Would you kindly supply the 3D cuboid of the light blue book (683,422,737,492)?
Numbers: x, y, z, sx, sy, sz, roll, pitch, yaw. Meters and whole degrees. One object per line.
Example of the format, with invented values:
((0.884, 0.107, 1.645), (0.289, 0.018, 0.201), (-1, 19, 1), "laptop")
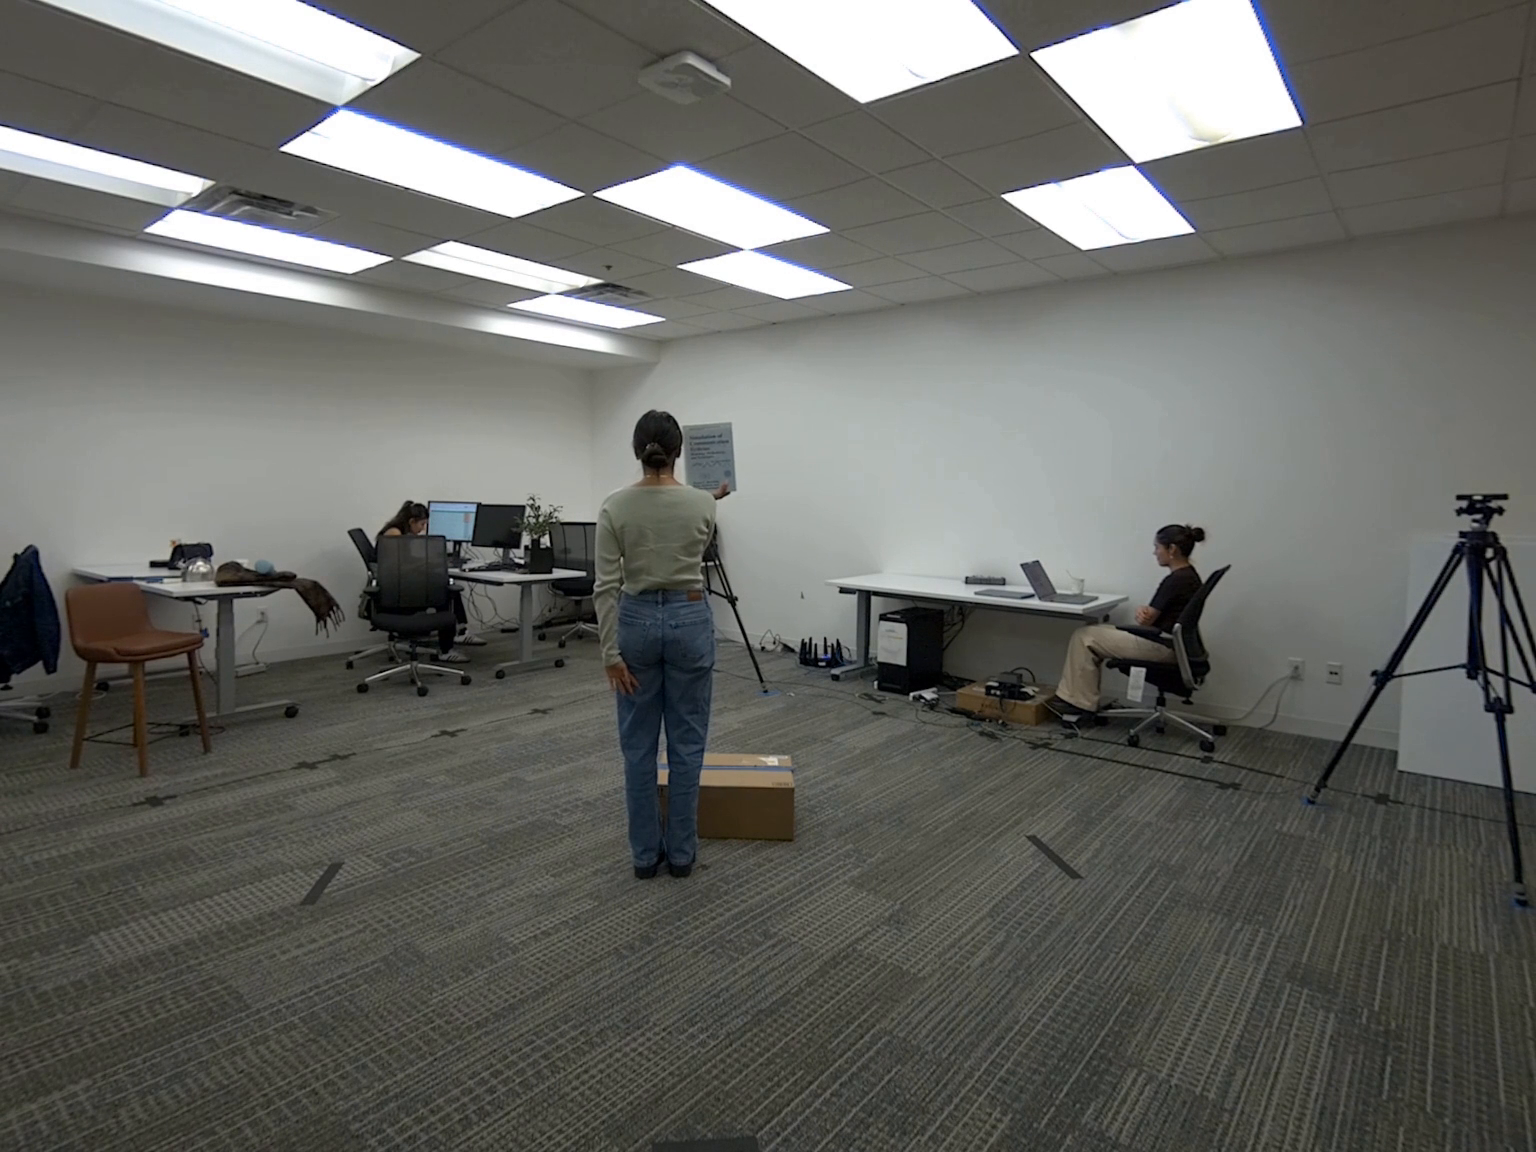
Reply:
((-0.231, -0.452, 3.215), (0.191, 0.259, 0.060), (-3, 8, -3), "light blue book")
